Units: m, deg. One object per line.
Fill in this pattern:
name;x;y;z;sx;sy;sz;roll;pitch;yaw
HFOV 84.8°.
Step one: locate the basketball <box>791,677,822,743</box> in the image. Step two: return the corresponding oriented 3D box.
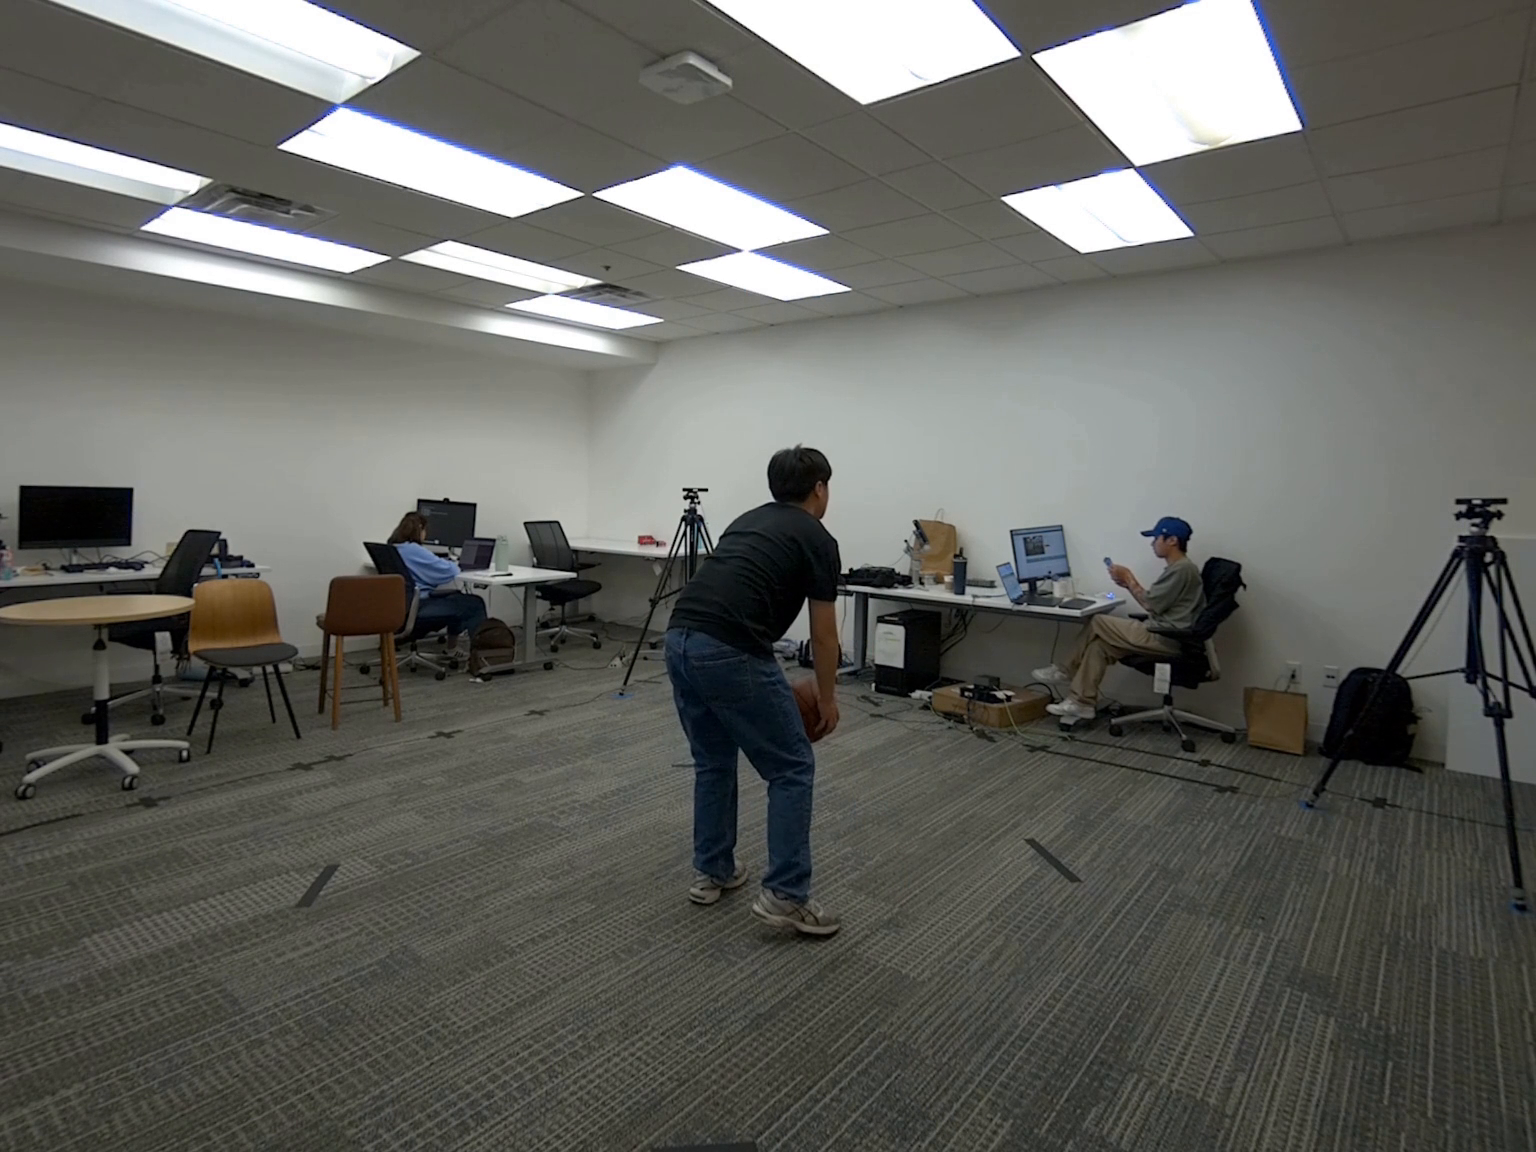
basketball;0.120;0.491;3.062;0.235;0.235;0.237;1;4;-2
